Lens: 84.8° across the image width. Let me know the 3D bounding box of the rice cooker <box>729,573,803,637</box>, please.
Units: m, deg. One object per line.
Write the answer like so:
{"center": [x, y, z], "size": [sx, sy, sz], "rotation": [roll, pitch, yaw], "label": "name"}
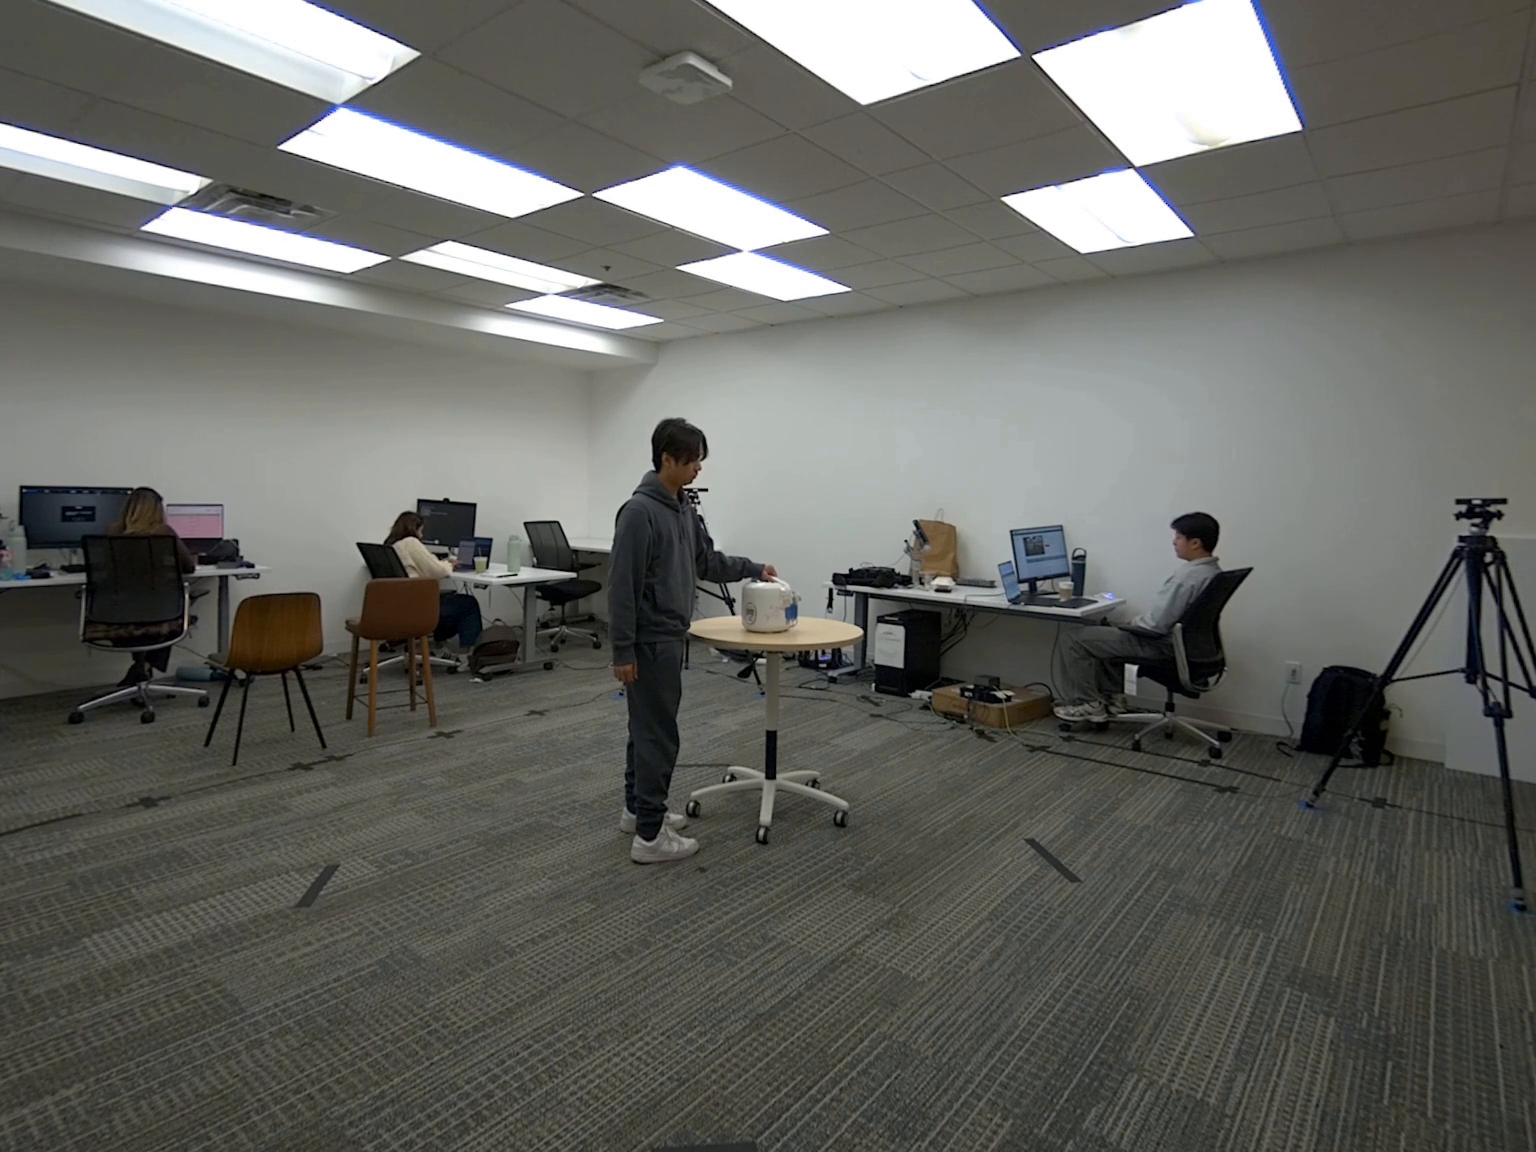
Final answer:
{"center": [-0.011, 0.113, 3.596], "size": [0.228, 0.232, 0.211], "rotation": [4, 6, 39], "label": "rice cooker"}
